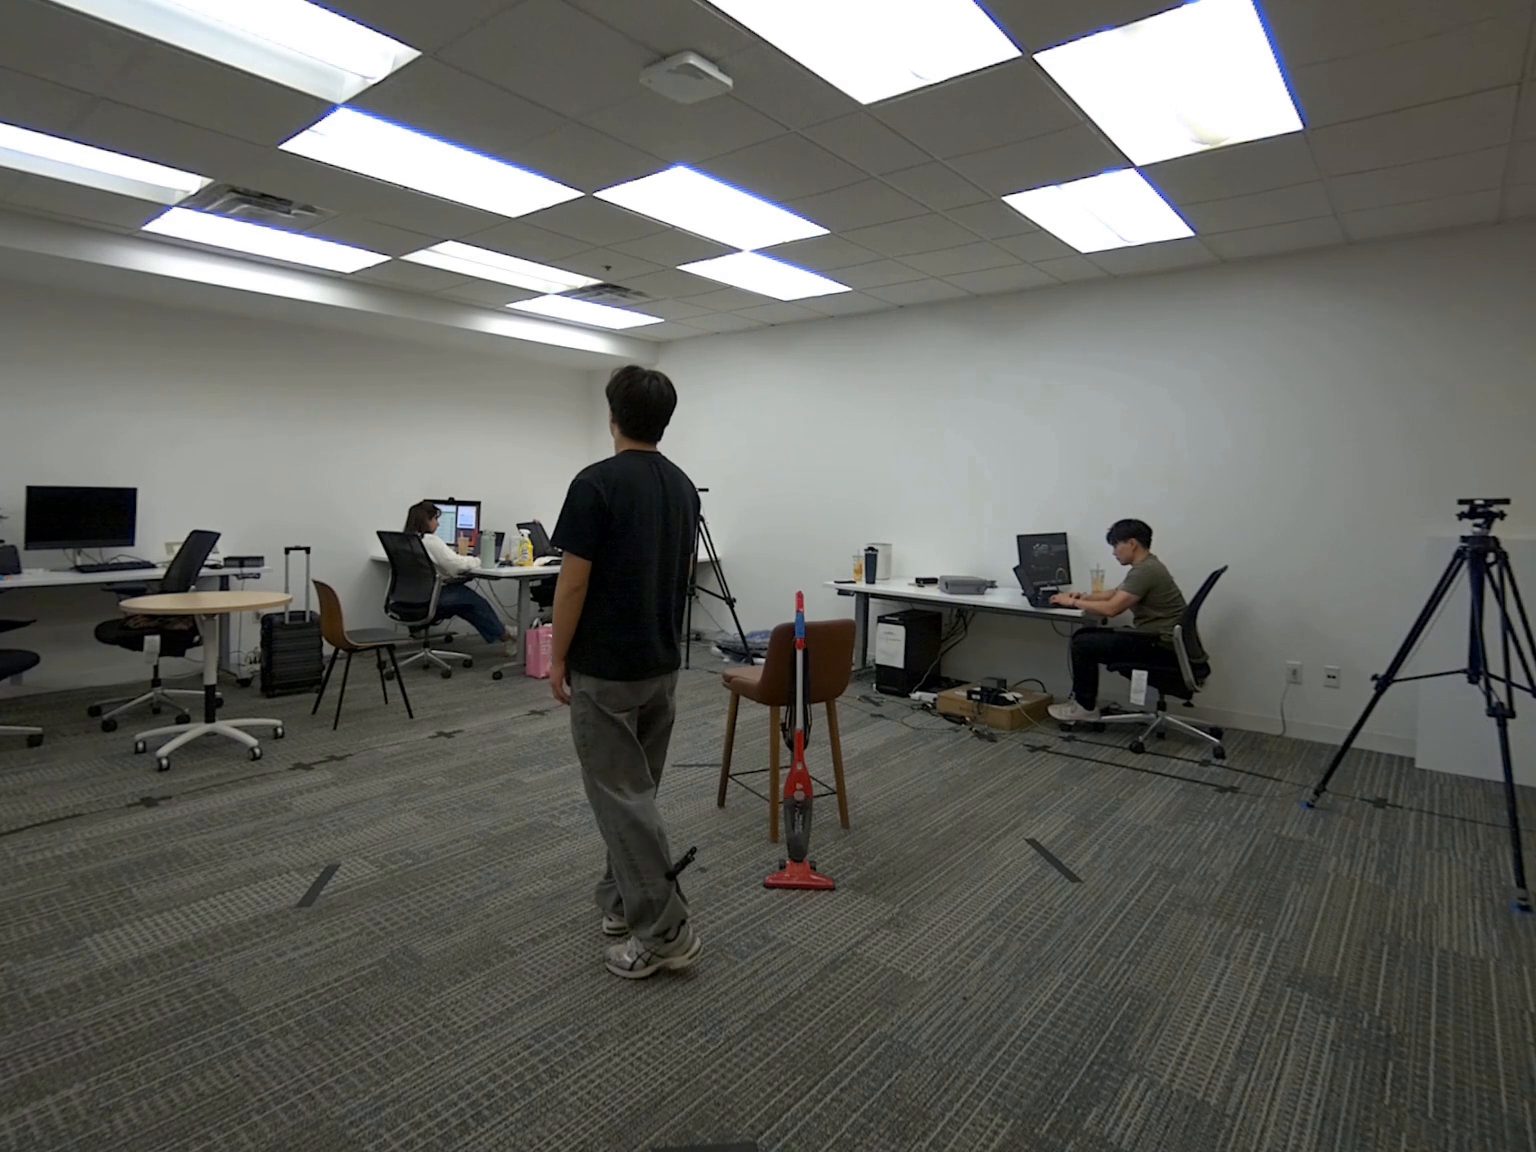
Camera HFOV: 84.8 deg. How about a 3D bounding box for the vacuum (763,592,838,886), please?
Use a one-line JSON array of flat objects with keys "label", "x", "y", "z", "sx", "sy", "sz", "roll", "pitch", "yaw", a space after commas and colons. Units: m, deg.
[{"label": "vacuum", "x": 0.110, "y": 0.572, "z": 3.200, "sx": 0.252, "sy": 1.066, "sz": 0.142, "roll": 2, "pitch": -17, "yaw": -3}]
